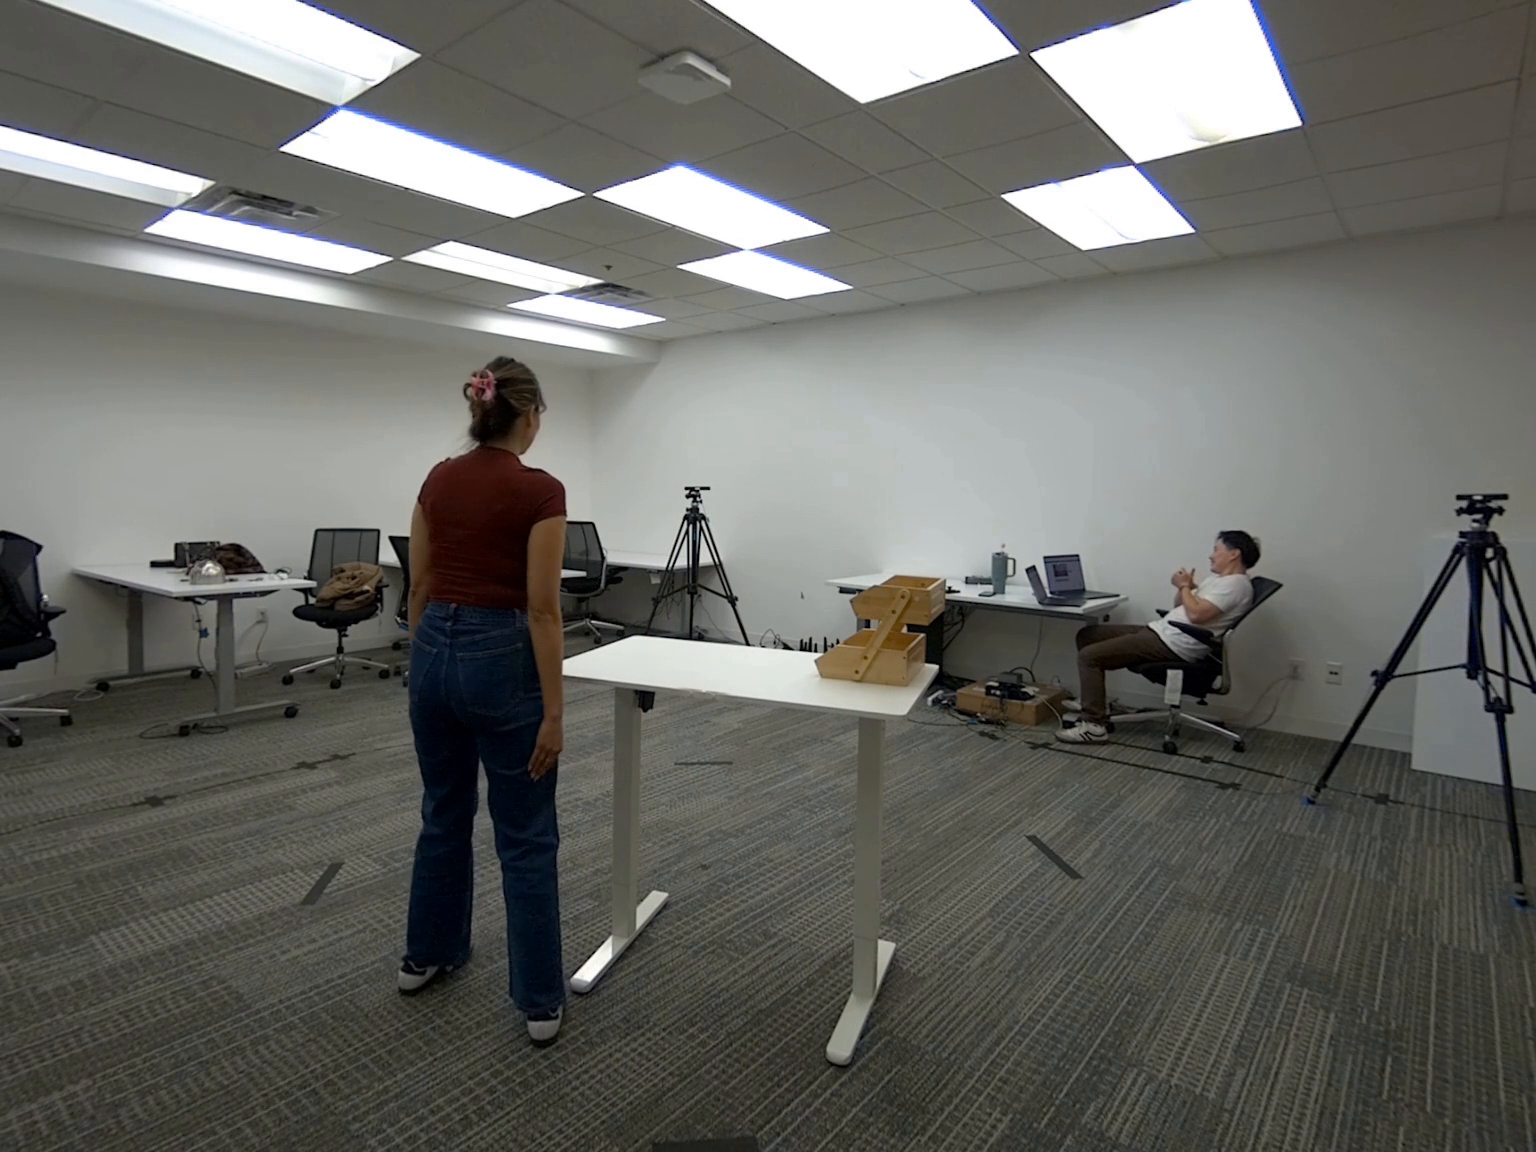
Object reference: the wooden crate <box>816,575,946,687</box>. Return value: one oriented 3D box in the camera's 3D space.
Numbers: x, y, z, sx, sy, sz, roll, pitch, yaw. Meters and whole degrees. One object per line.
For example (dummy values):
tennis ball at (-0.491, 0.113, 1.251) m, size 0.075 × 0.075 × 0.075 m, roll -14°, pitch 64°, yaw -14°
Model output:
wooden crate at (0.312, 0.135, 2.380) m, size 0.309 × 0.272 × 0.318 m, roll 3°, pitch 6°, yaw 21°
